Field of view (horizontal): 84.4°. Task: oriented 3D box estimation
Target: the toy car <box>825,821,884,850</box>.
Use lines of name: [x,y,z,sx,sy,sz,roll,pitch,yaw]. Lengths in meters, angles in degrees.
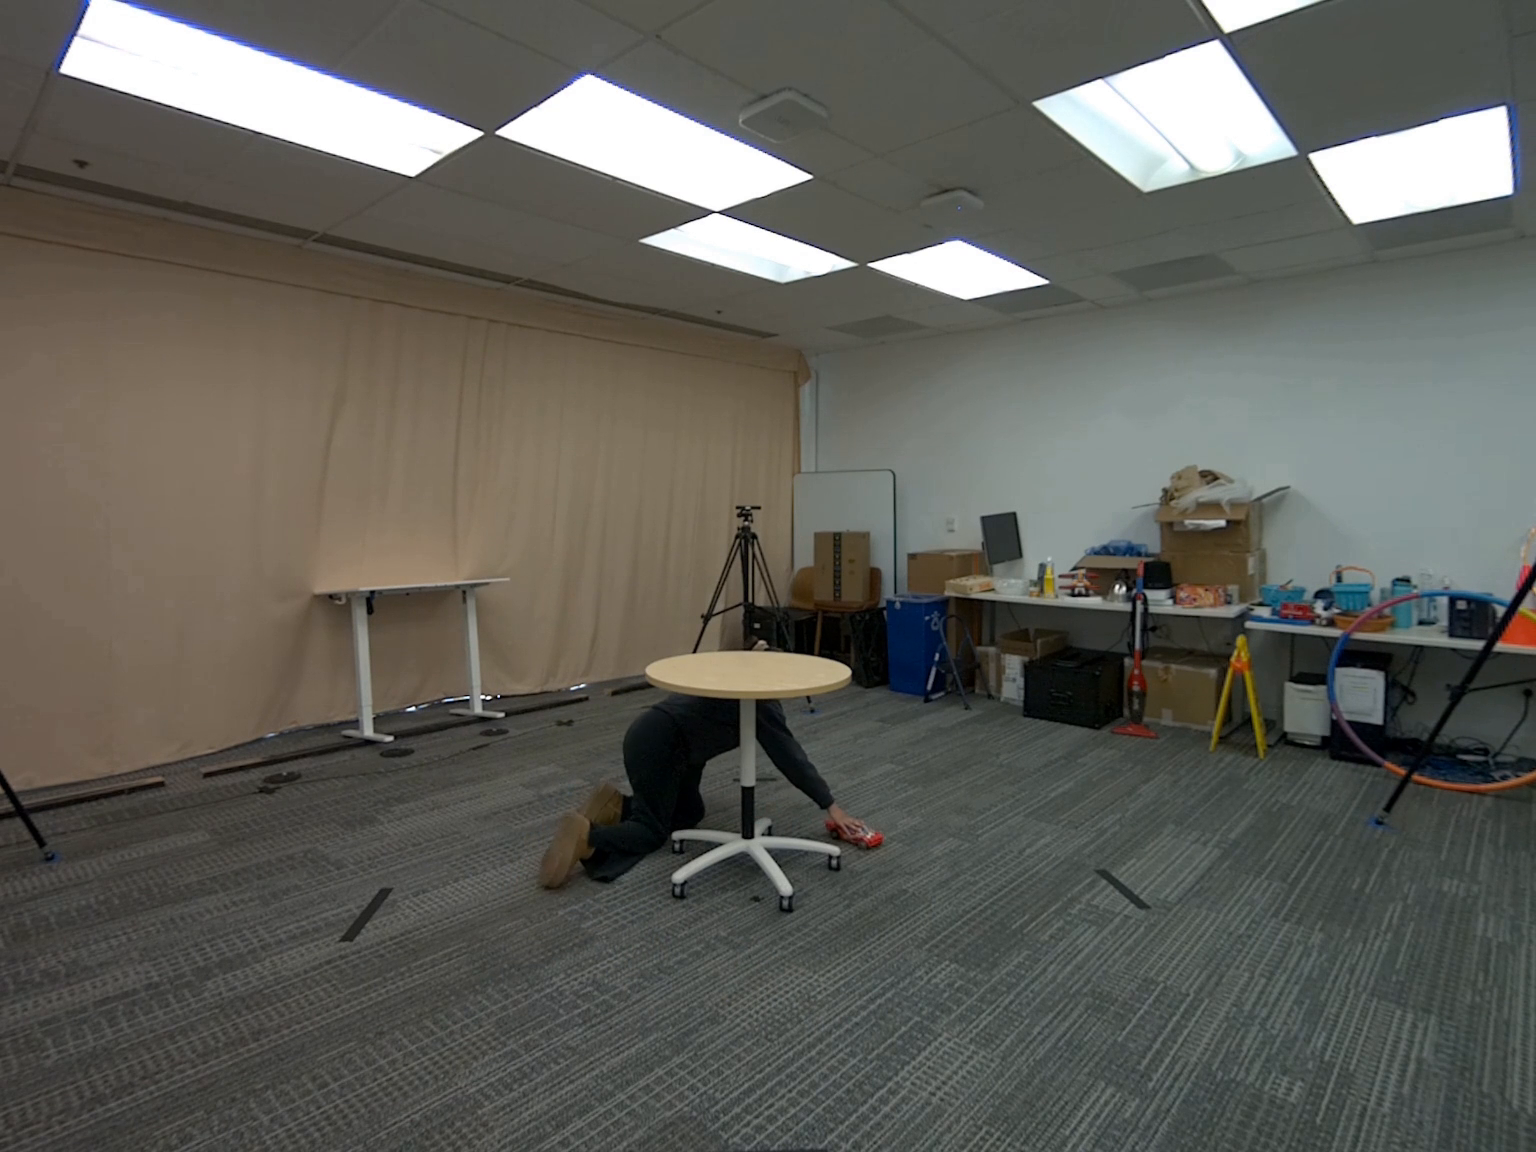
toy car: [0.379,1.061,3.508,0.126,0.083,0.264,-3,15,-42]
